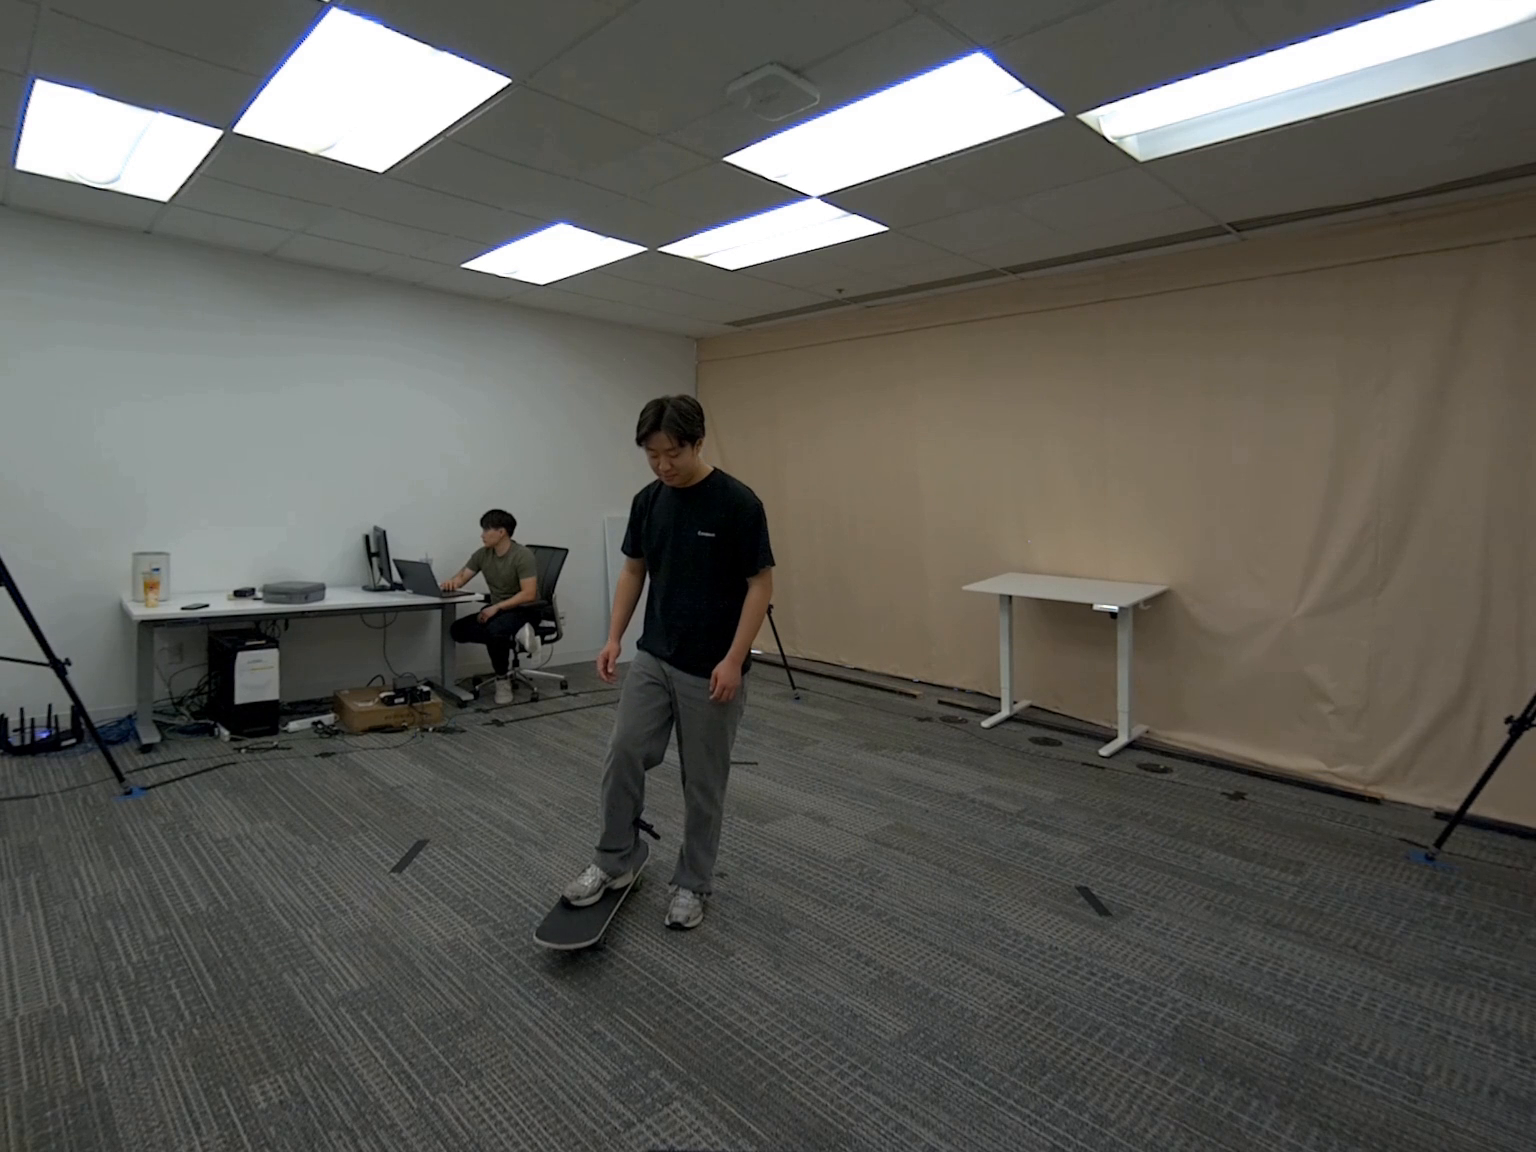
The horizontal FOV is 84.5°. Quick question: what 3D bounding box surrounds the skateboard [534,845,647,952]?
[{"bbox_3d":[-0.566,1.065,2.779,0.195,0.110,0.782,3,5,7],"label":"skateboard"}]
